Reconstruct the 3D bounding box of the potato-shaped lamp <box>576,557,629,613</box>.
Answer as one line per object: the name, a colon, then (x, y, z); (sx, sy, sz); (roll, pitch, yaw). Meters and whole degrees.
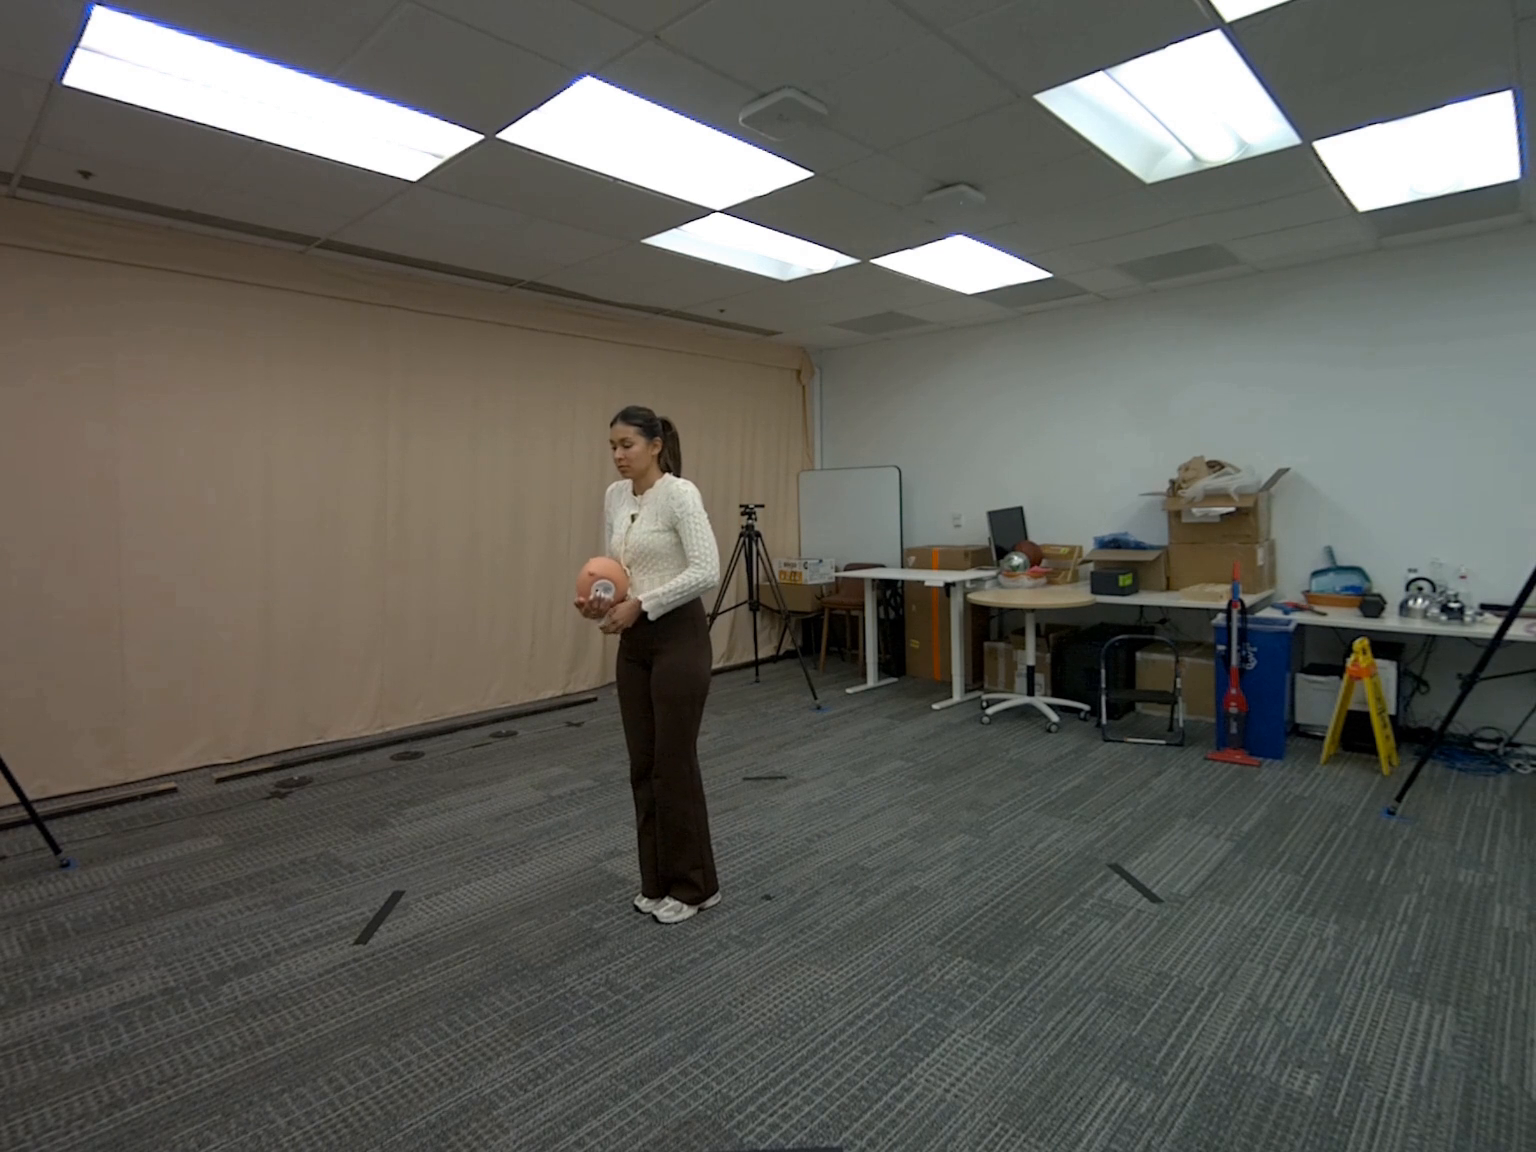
potato-shaped lamp: (-0.559, 0.016, 2.808); (0.167, 0.164, 0.203); (11, 19, -21)
